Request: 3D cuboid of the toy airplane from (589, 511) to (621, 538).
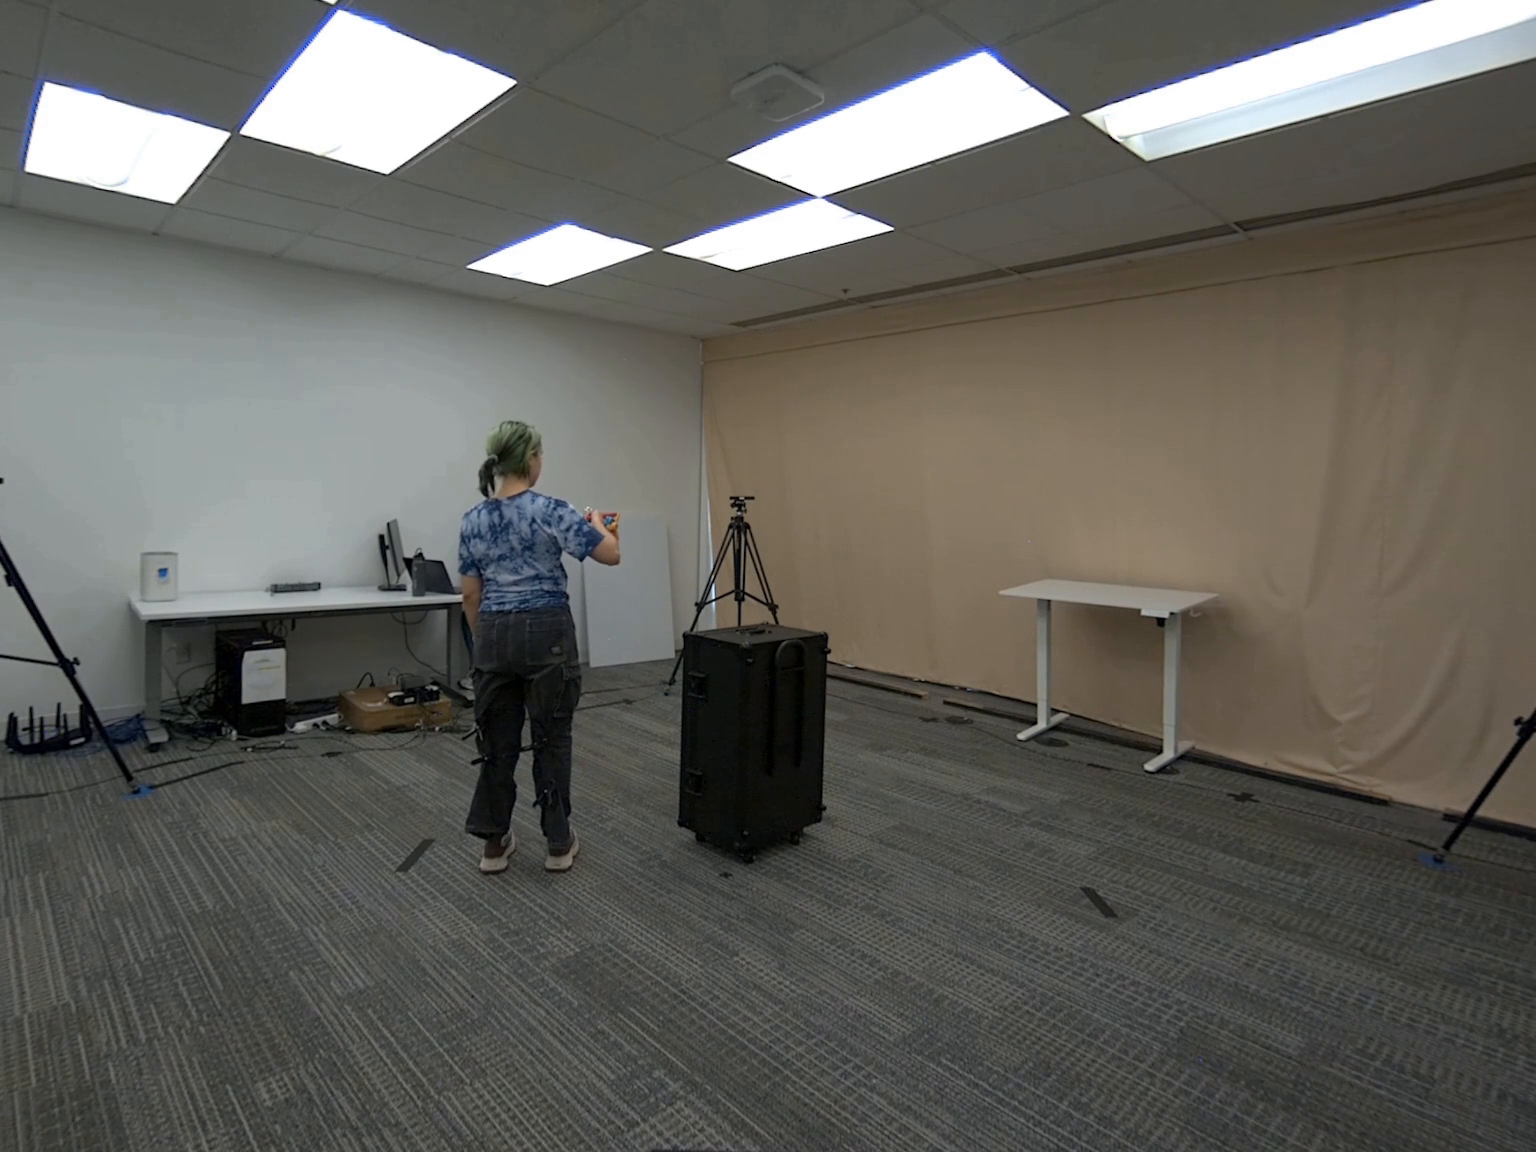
[{"bbox_3d":[-0.749,-0.187,3.413,0.256,0.155,0.255,13,14,-13],"label":"toy airplane"}]
